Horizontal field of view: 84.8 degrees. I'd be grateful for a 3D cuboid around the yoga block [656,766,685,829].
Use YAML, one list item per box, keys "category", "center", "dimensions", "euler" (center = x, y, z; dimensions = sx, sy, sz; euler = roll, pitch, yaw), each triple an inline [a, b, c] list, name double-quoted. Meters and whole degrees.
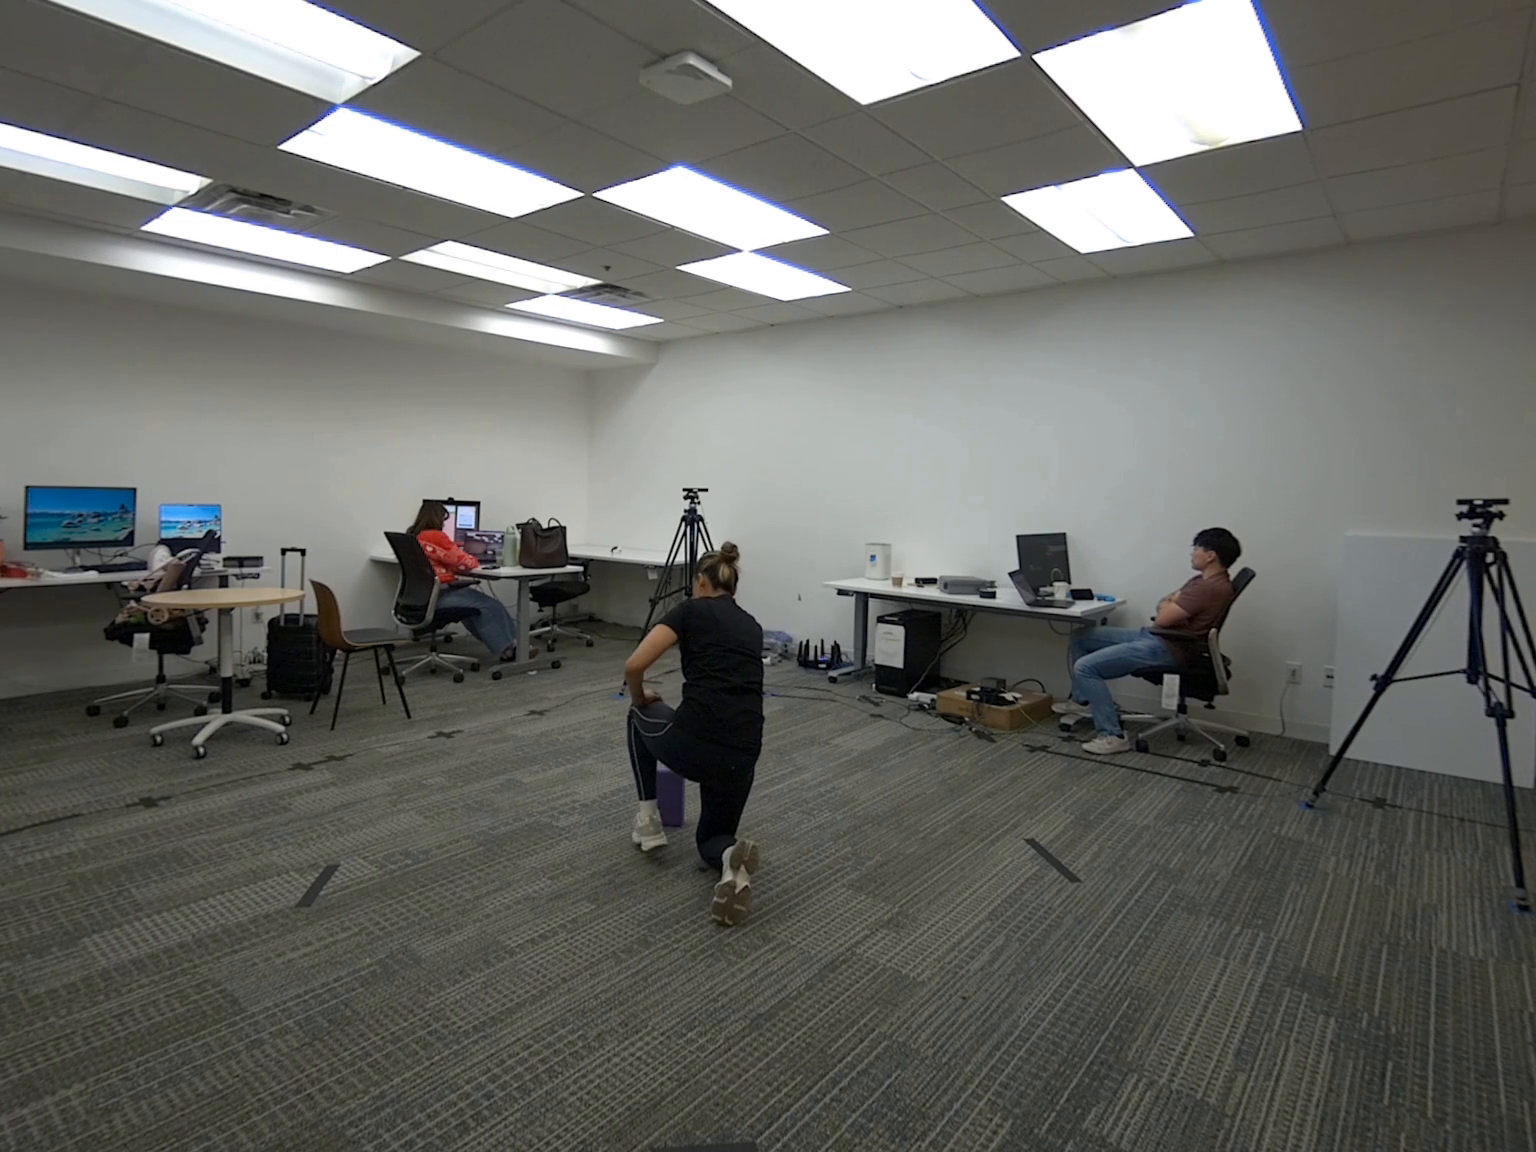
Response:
- category: "yoga block"
  center: [-0.433, 0.912, 3.526]
  dimensions: [0.149, 0.229, 0.076]
  euler: [0, 2, 2]
